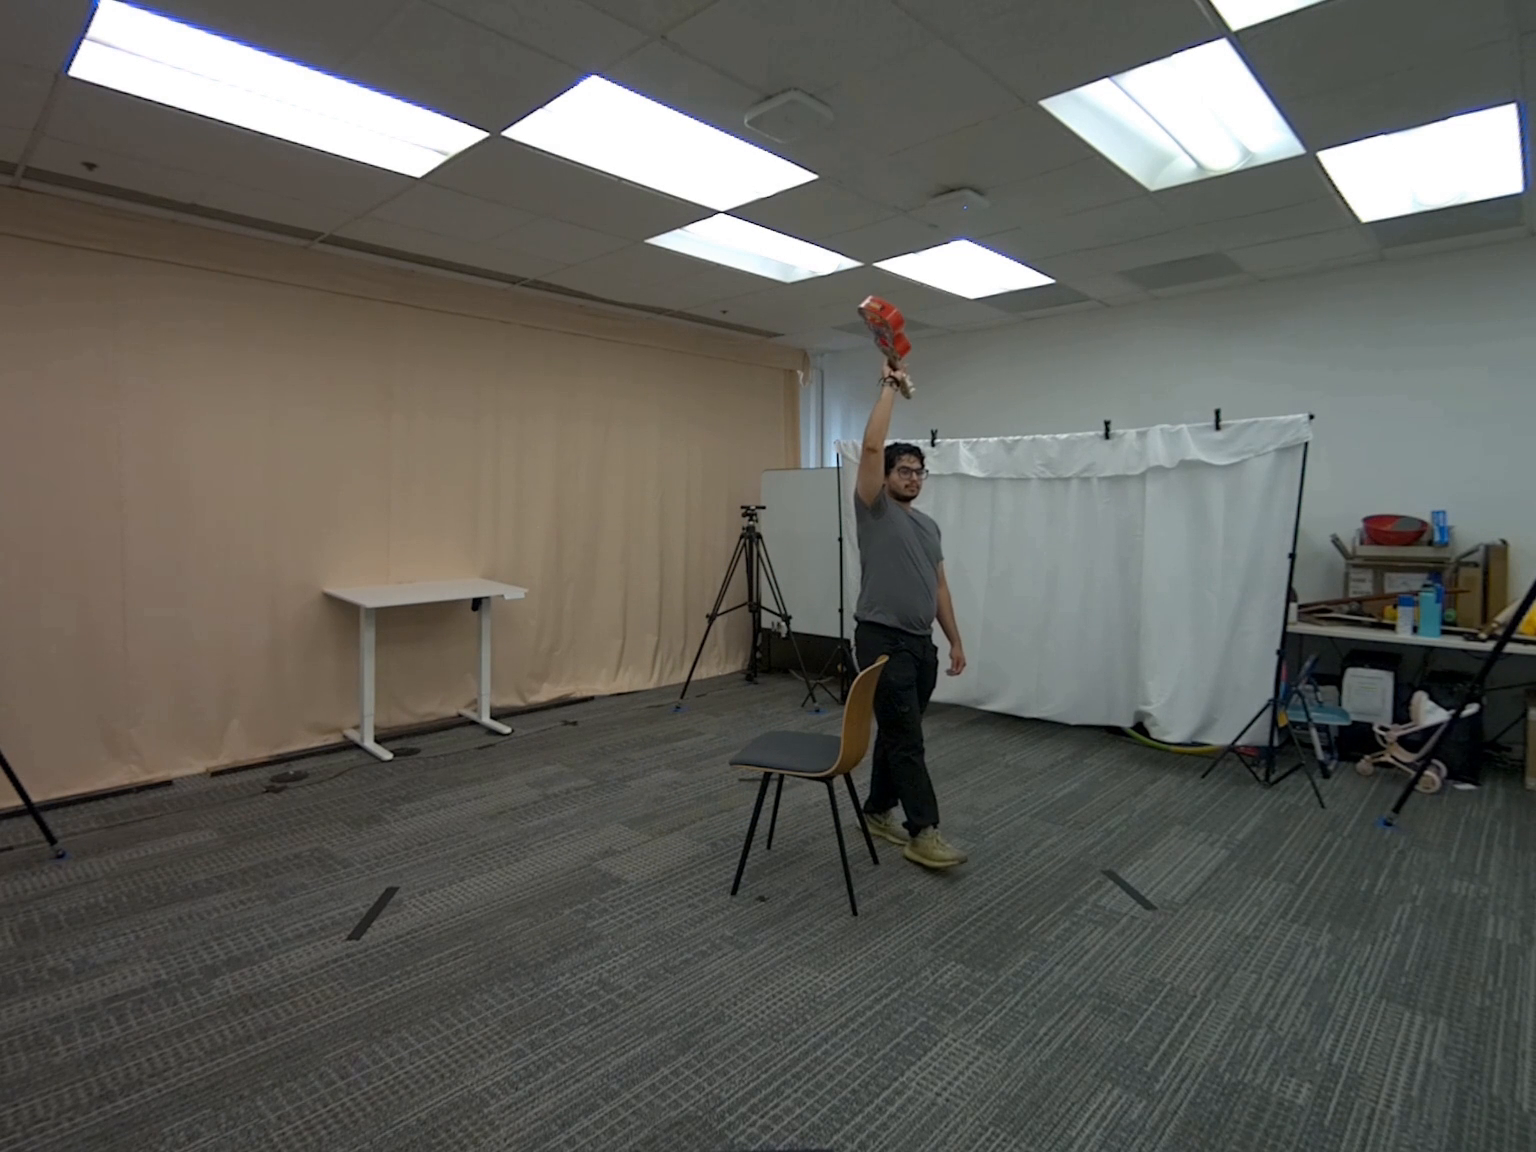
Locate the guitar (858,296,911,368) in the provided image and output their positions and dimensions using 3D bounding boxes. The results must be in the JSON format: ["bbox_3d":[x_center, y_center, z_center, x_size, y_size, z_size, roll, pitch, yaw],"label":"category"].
[{"bbox_3d":[0.479,-0.894,3.310,0.199,0.070,0.482,42,-7,32],"label":"guitar"}]
